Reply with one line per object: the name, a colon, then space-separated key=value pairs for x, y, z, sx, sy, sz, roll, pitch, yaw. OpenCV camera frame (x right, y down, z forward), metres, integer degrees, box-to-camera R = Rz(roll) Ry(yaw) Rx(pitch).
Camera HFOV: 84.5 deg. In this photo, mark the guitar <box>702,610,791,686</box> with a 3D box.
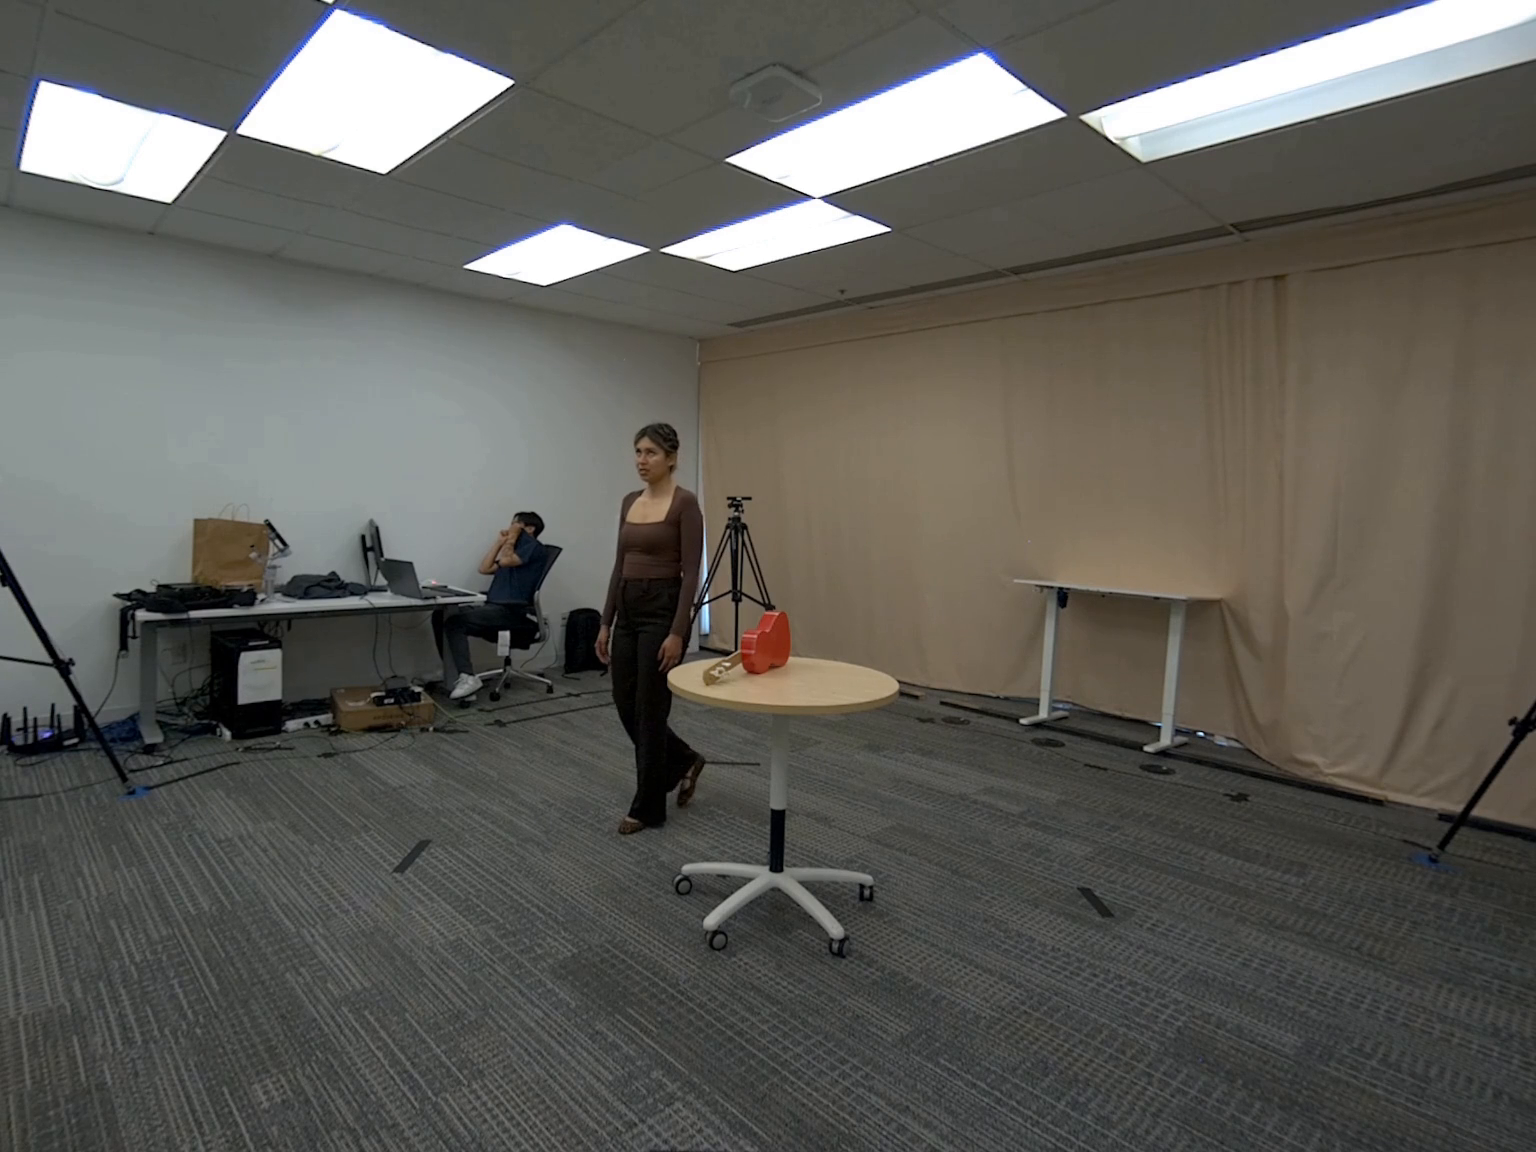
guitar: x=-0.063 y=0.294 z=2.847 sx=0.072 sy=0.190 sz=0.495 roll=4 pitch=24 yaw=27
